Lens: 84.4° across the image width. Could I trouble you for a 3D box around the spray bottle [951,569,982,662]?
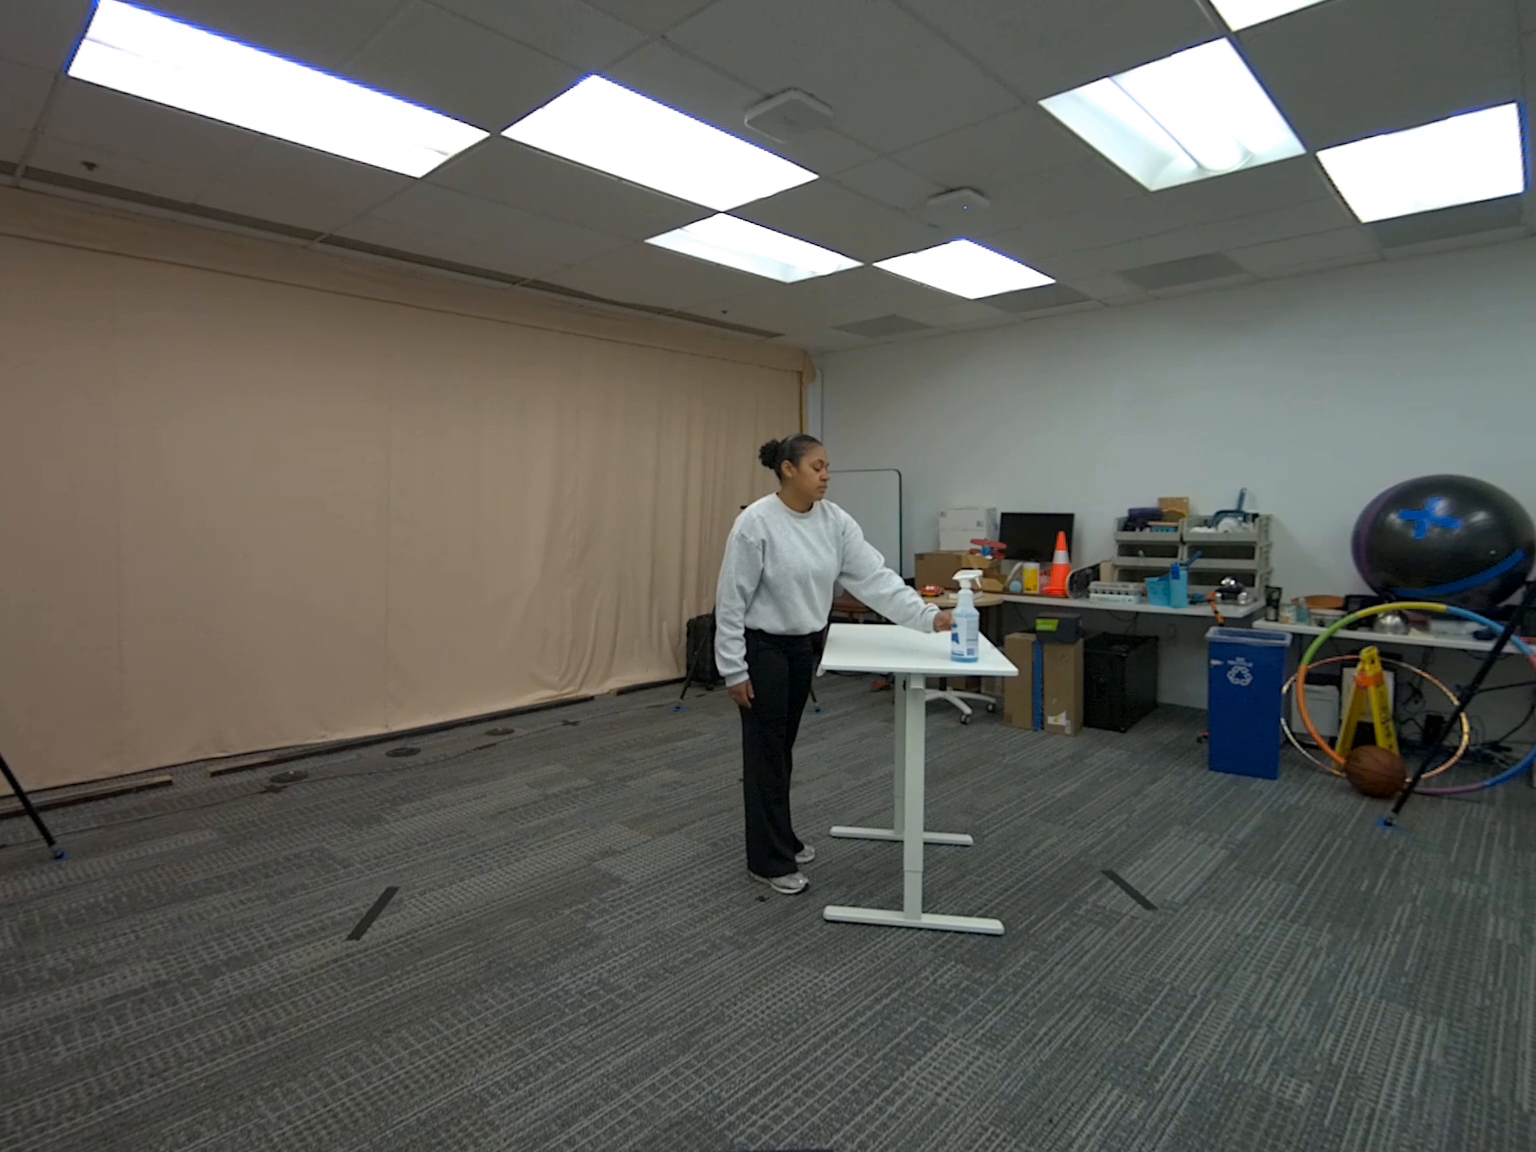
[{"bbox_3d":[0.639,0.126,2.754,0.084,0.297,0.093,0,3,-39],"label":"spray bottle"}]
